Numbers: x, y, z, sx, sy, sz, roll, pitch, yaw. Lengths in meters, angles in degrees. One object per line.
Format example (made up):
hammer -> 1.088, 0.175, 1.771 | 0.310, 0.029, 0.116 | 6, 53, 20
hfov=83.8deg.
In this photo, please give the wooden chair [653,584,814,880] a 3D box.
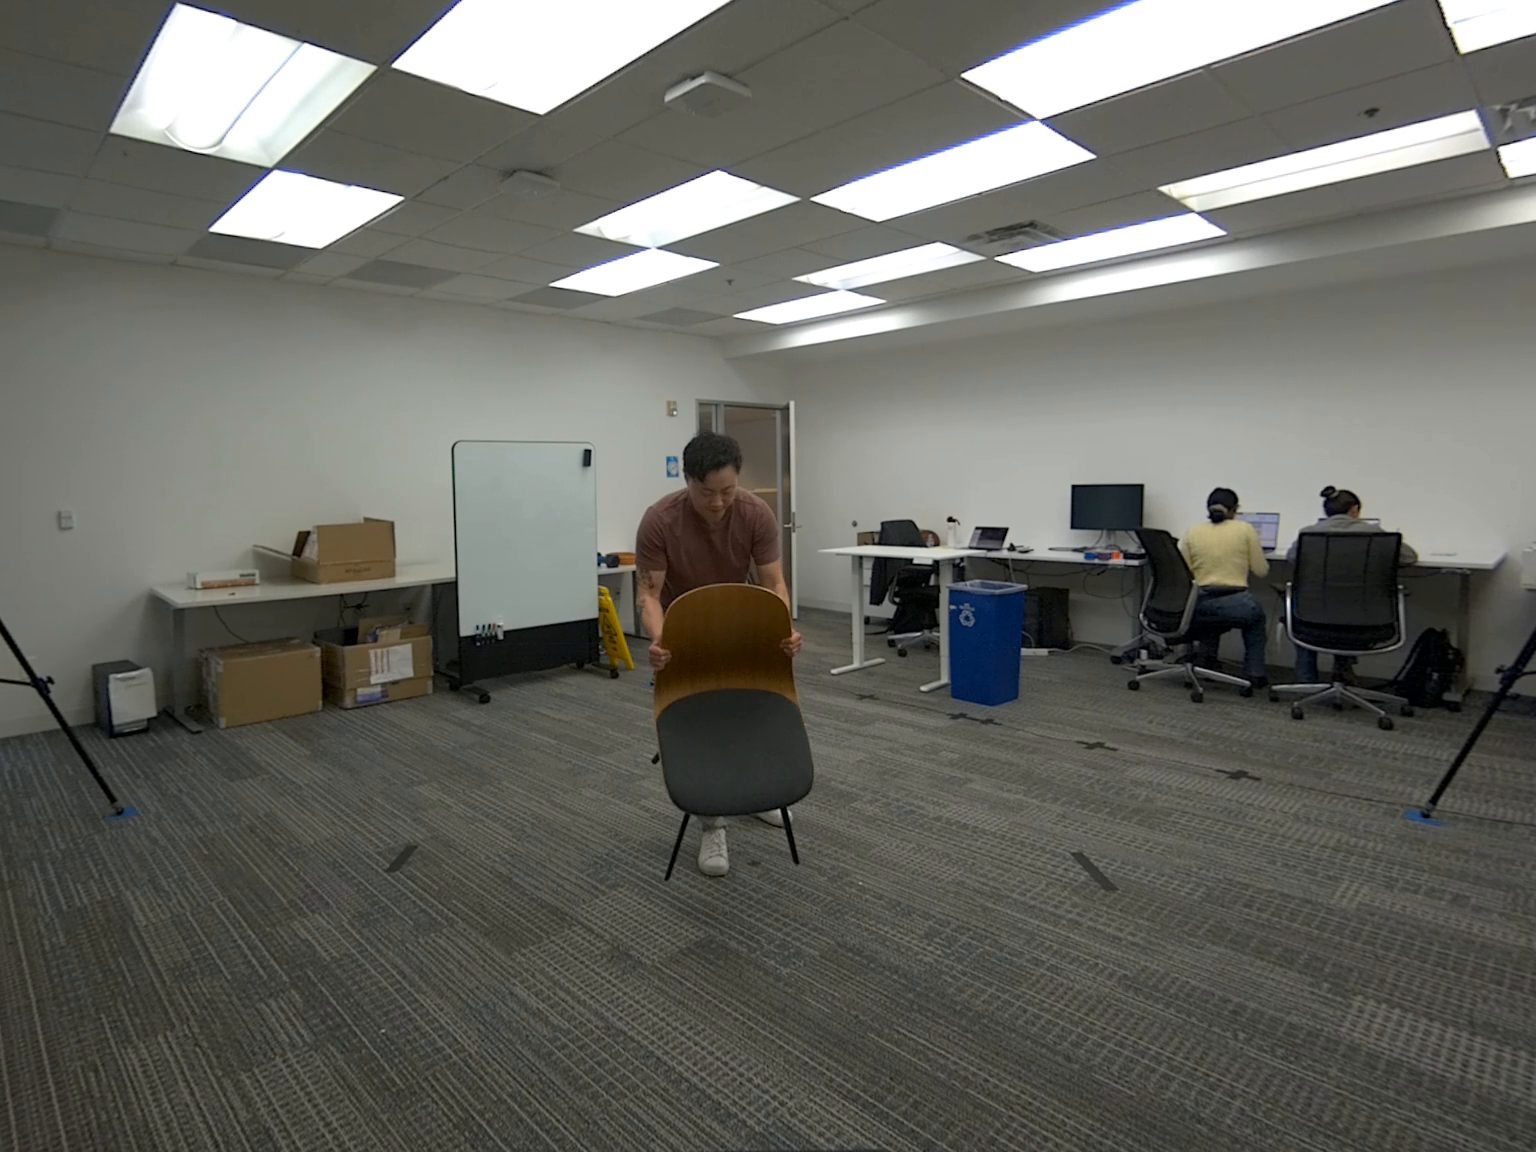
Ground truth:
wooden chair -> -0.111, 0.529, 2.693 | 0.473, 0.857, 0.541 | -2, 39, -11
